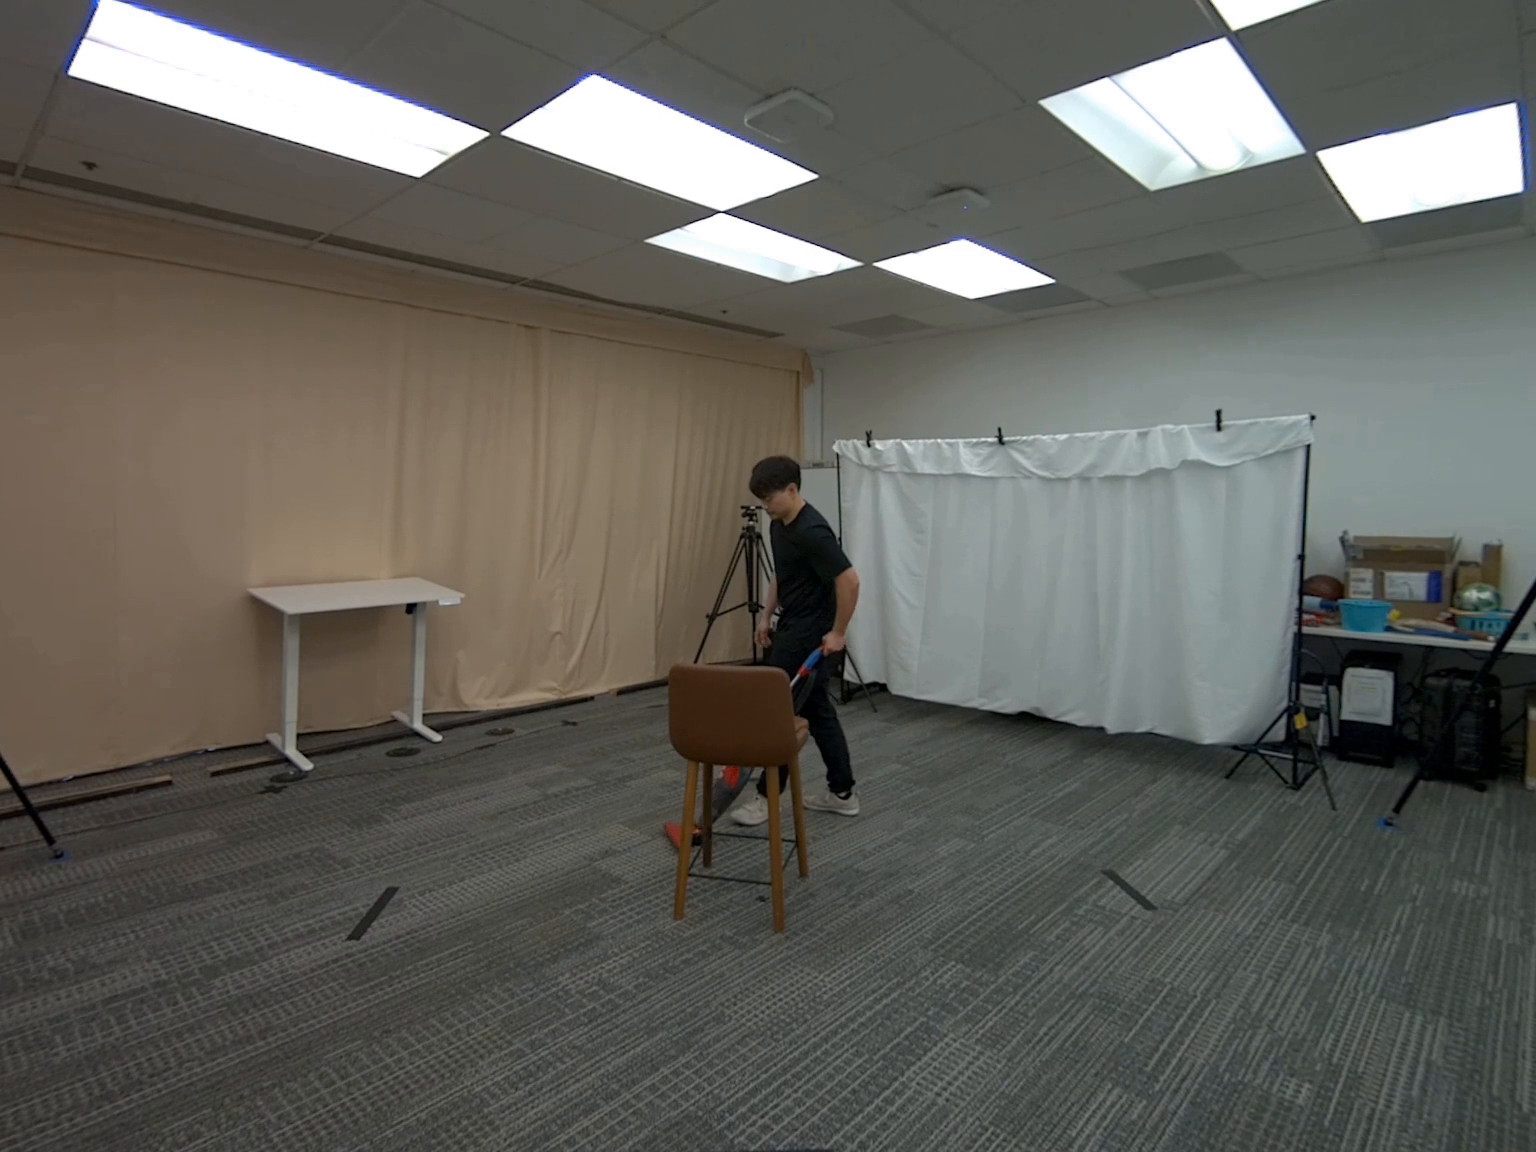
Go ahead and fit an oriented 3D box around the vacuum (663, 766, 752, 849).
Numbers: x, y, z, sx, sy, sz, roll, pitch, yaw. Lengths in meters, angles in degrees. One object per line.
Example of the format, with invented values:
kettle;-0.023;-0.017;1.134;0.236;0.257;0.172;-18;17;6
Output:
vacuum;-0.040;0.692;3.562;0.140;1.047;0.259;42;-9;-23
